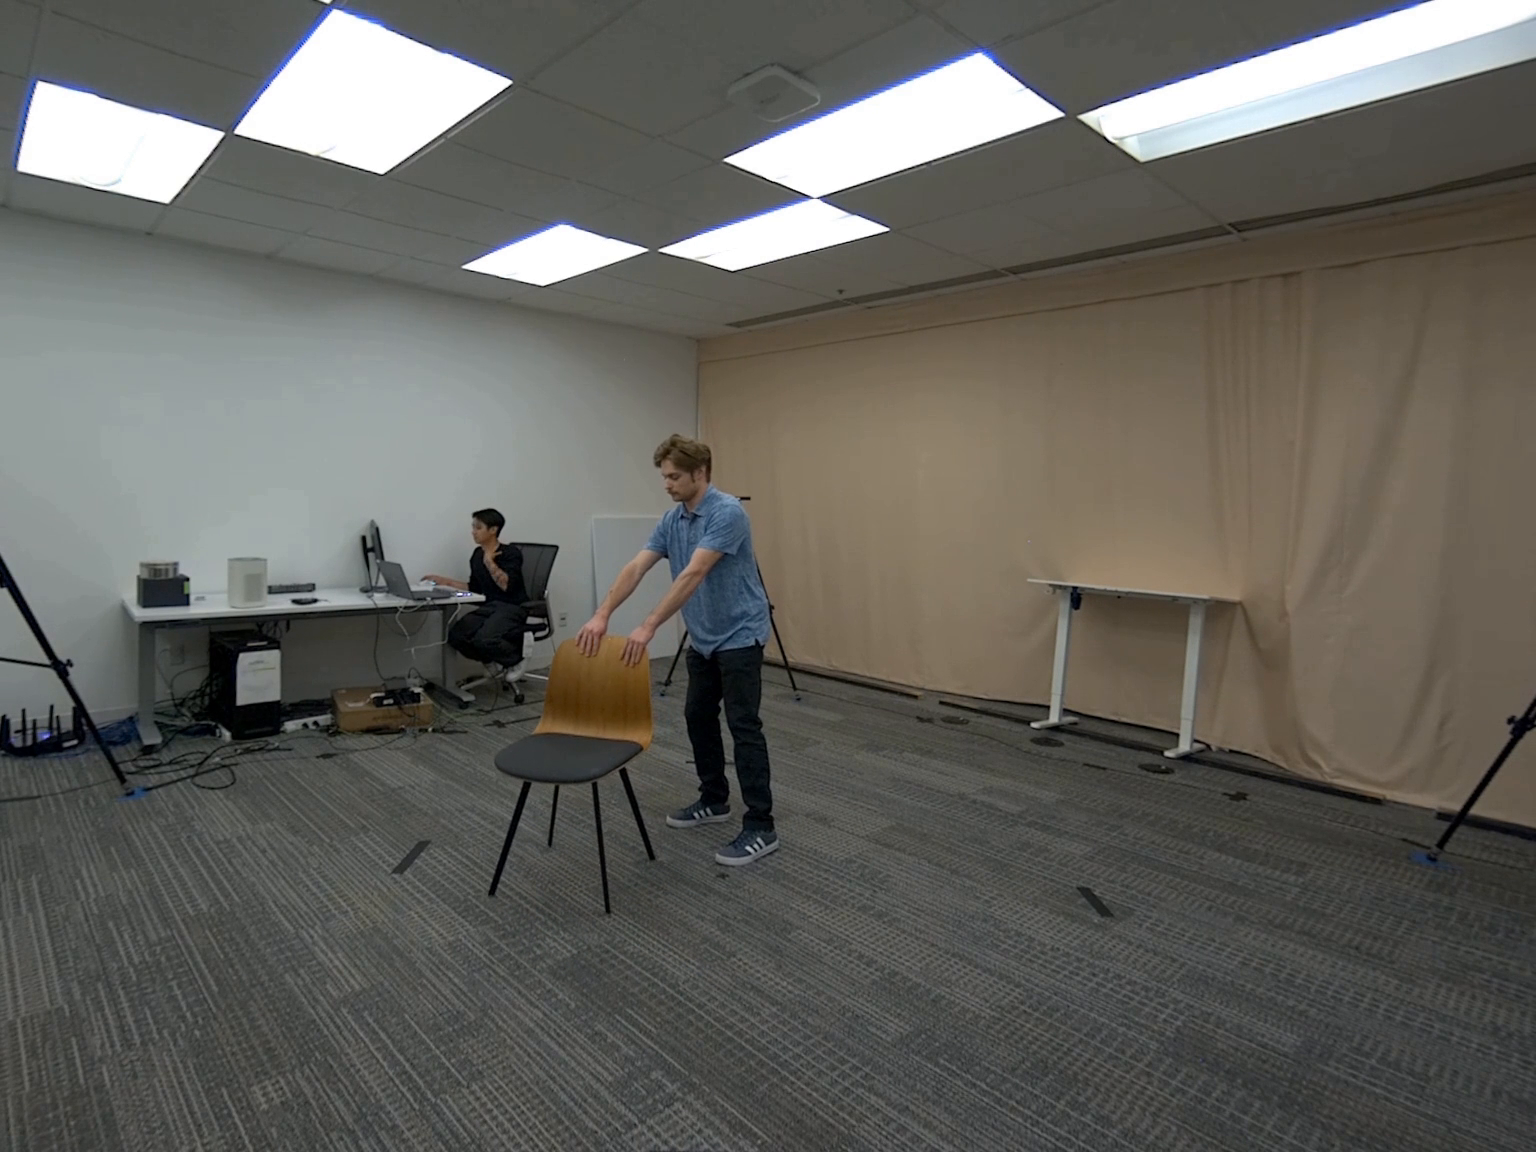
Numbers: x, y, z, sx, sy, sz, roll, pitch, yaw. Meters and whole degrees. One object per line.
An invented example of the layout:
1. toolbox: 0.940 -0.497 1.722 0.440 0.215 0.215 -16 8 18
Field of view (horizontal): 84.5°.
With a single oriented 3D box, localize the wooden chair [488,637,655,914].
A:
1. wooden chair: -0.692 0.675 3.028 0.484 0.878 0.517 2 -1 14
